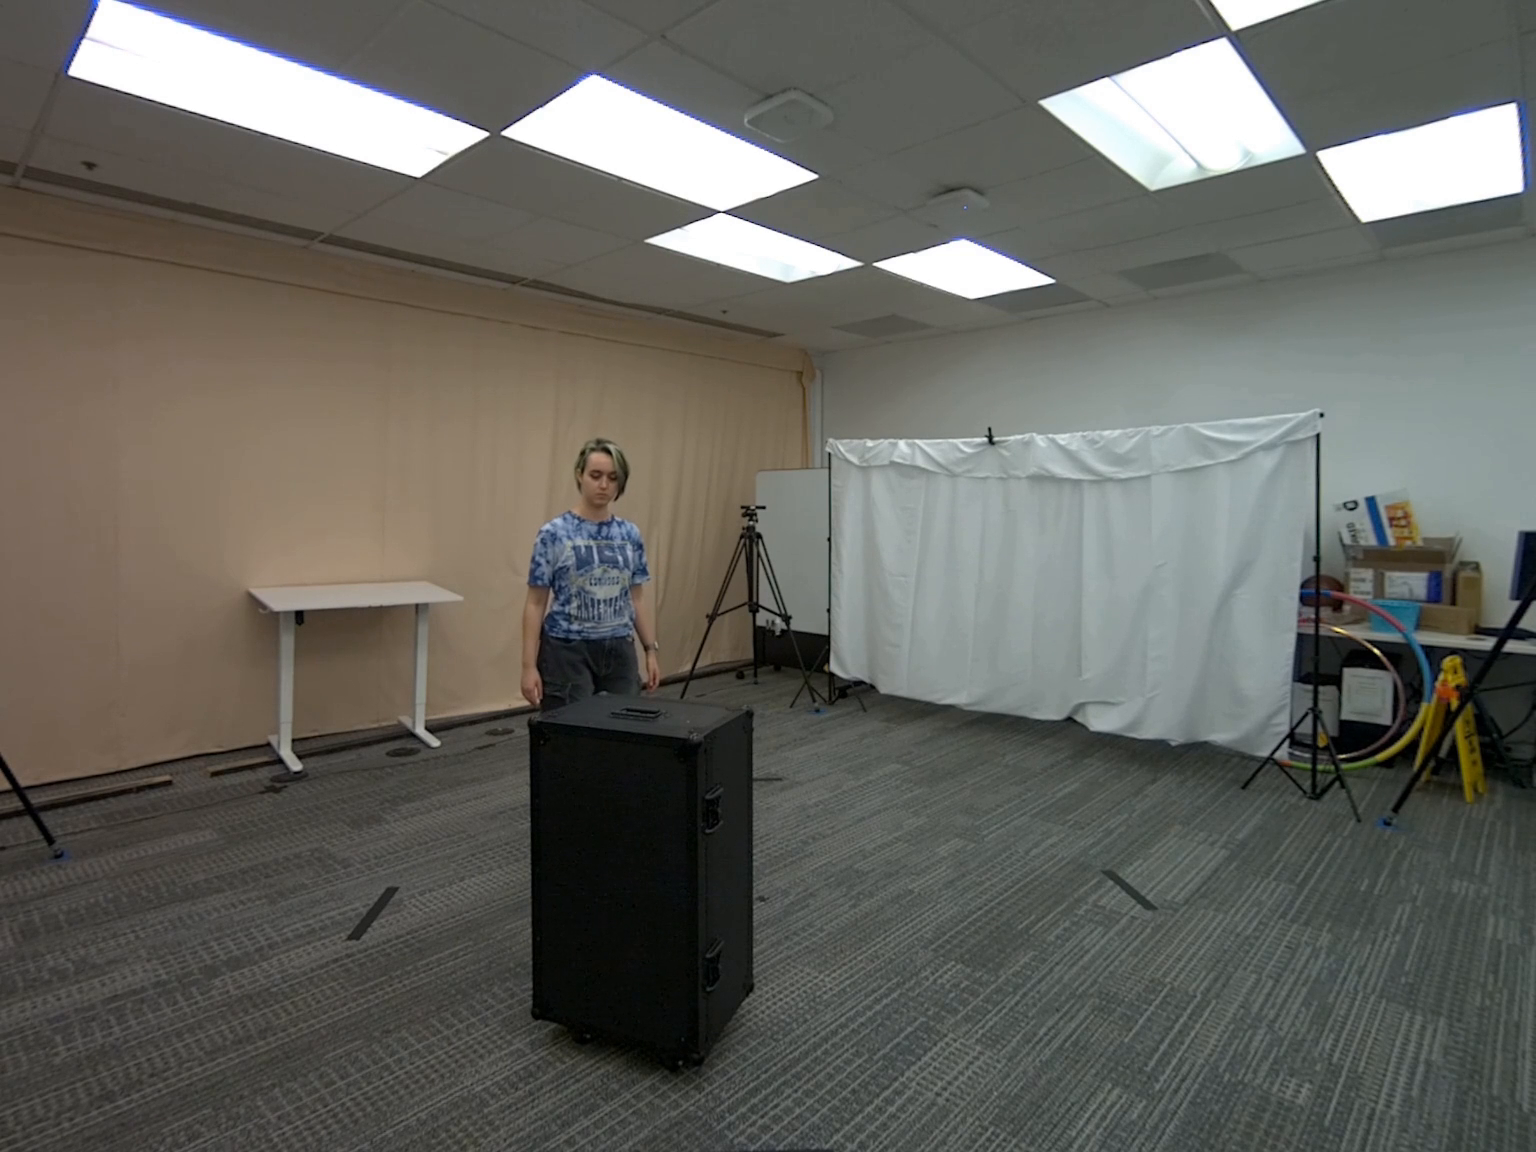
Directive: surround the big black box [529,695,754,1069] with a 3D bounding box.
[{"bbox_3d":[-0.325,0.784,2.237,0.534,0.860,0.387,1,2,23],"label":"big black box"}]
